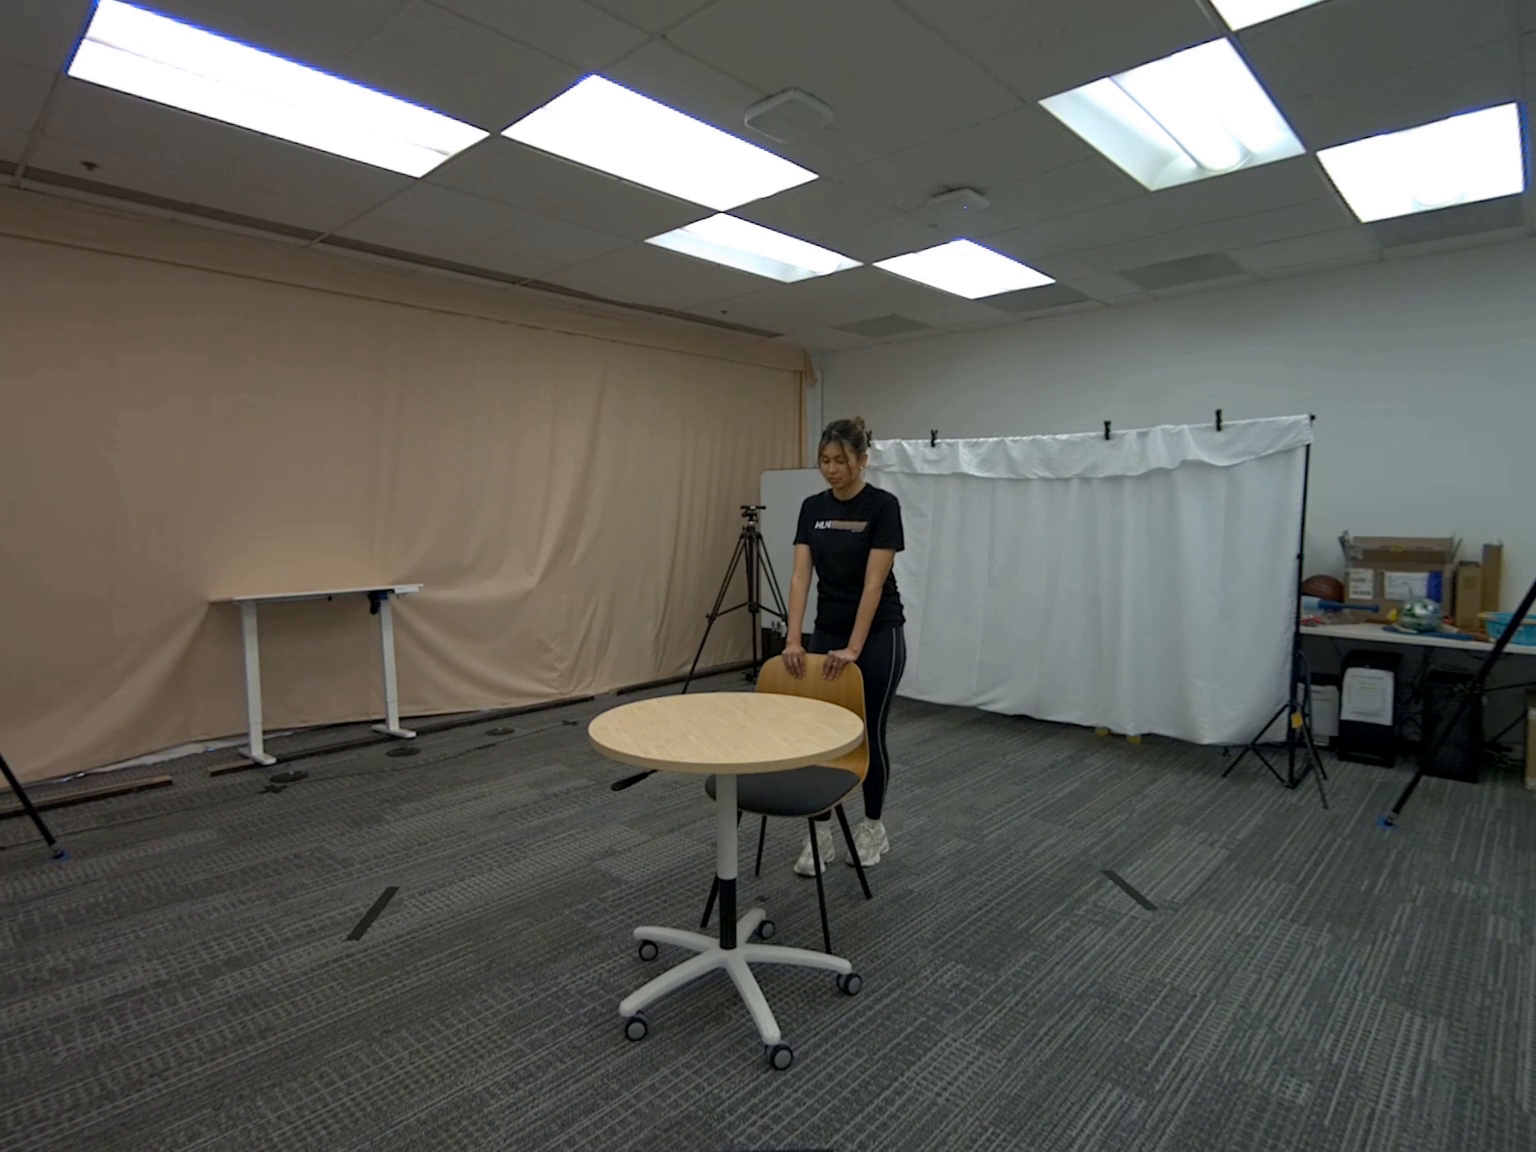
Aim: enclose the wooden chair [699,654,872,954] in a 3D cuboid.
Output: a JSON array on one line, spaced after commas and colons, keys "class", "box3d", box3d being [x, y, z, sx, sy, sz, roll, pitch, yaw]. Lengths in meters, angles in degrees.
[{"class": "wooden chair", "box3d": [0.074, 0.727, 2.844, 0.490, 0.877, 0.509, 2, 0, 25]}]
